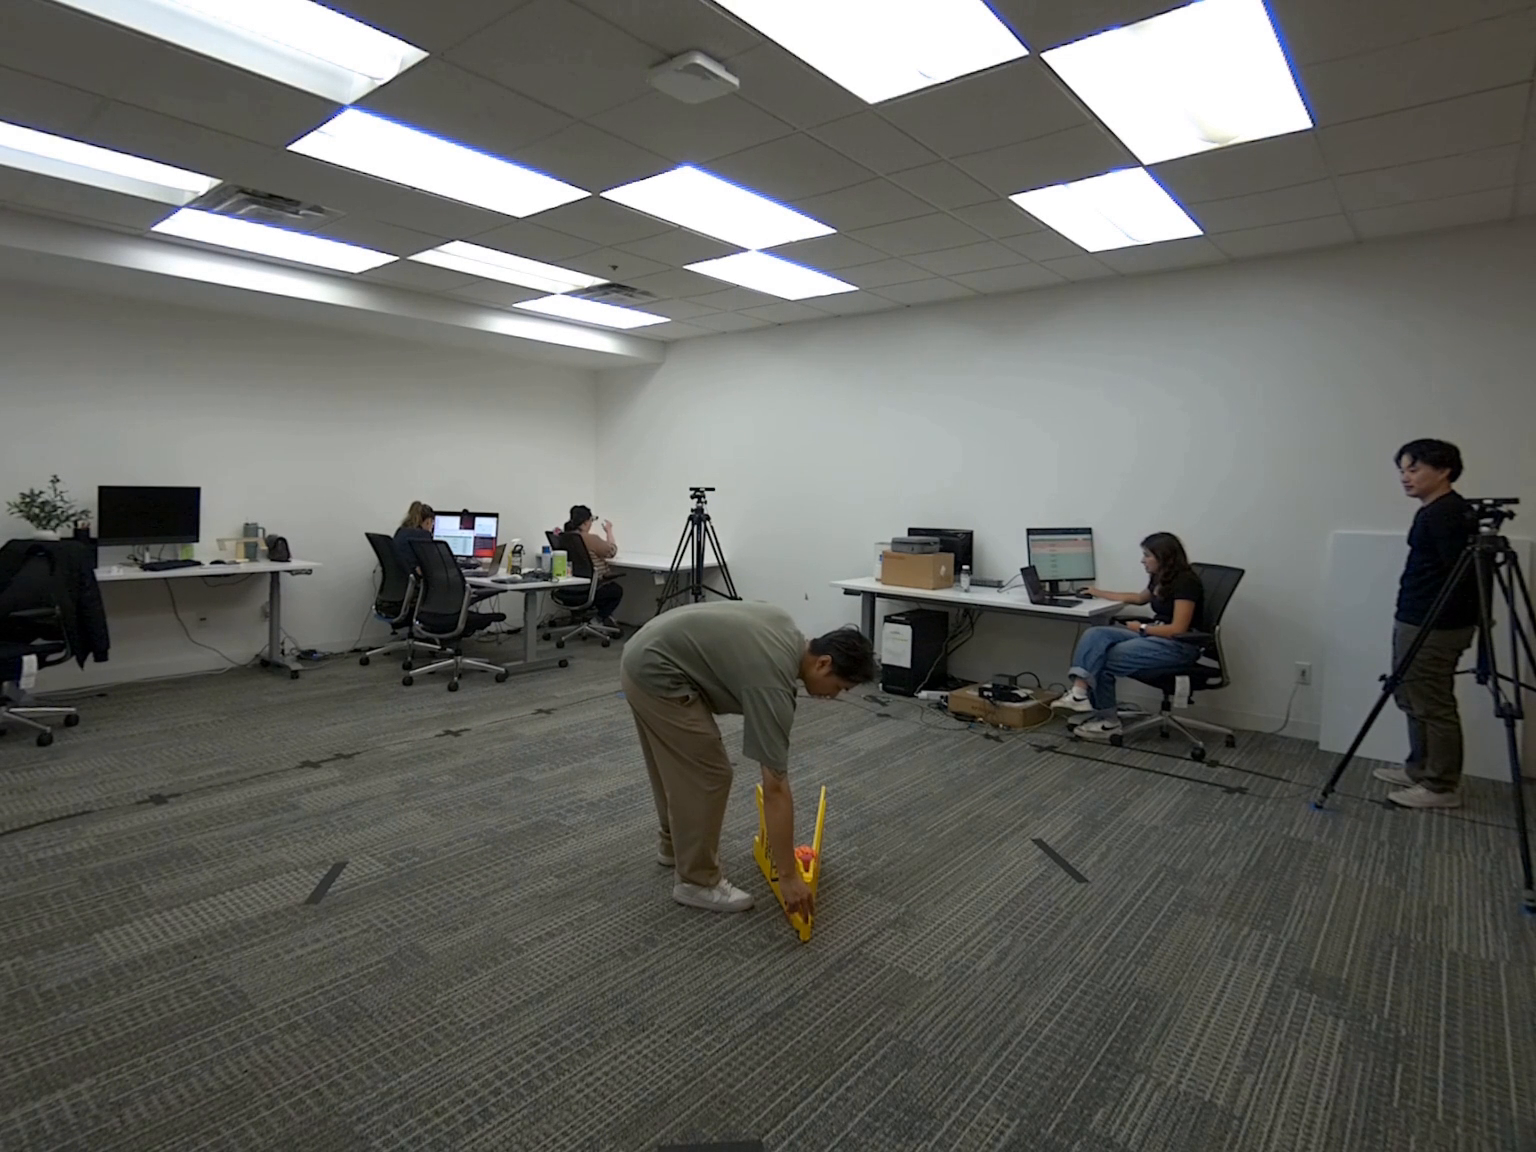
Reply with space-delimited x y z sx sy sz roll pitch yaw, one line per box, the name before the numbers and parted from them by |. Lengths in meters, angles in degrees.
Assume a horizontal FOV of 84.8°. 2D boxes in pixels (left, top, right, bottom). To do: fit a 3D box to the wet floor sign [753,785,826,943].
wet floor sign | 0.086 0.967 2.896 0.289 0.280 0.652 1 8 -3
